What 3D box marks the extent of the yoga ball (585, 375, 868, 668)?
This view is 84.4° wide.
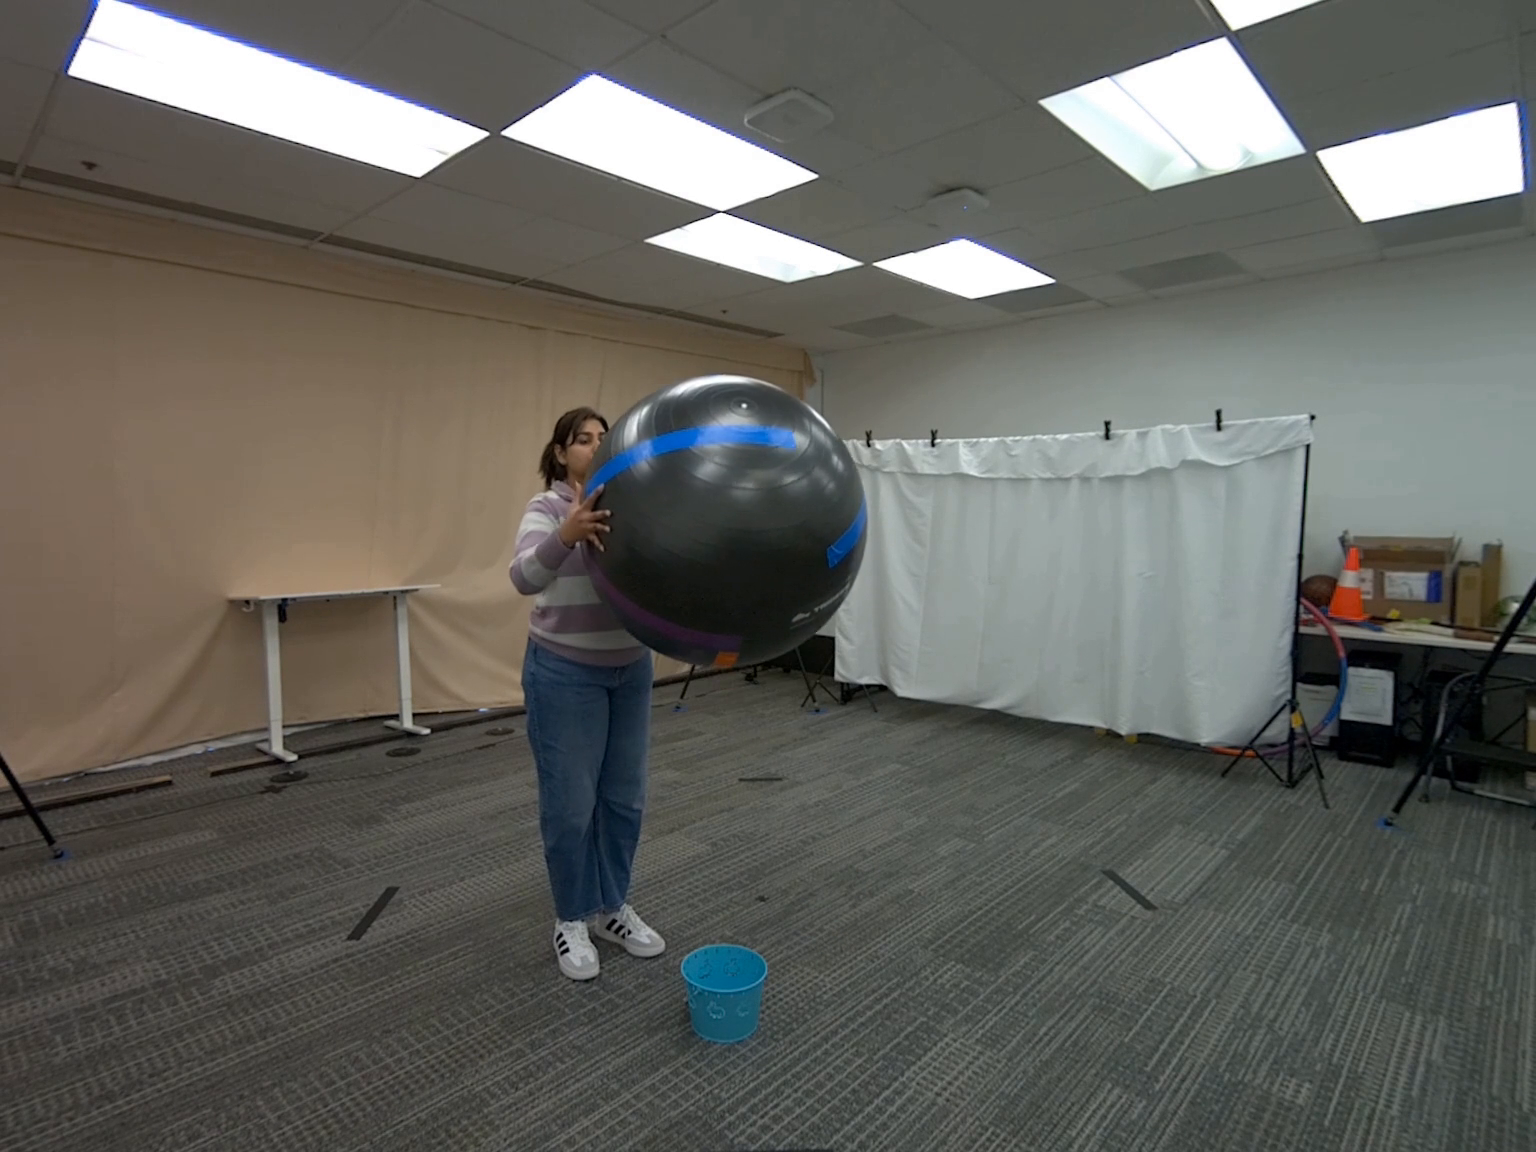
[{"bbox_3d":[-0.114,-0.137,2.200,0.757,0.756,0.761,0,4,-2],"label":"yoga ball"}]
